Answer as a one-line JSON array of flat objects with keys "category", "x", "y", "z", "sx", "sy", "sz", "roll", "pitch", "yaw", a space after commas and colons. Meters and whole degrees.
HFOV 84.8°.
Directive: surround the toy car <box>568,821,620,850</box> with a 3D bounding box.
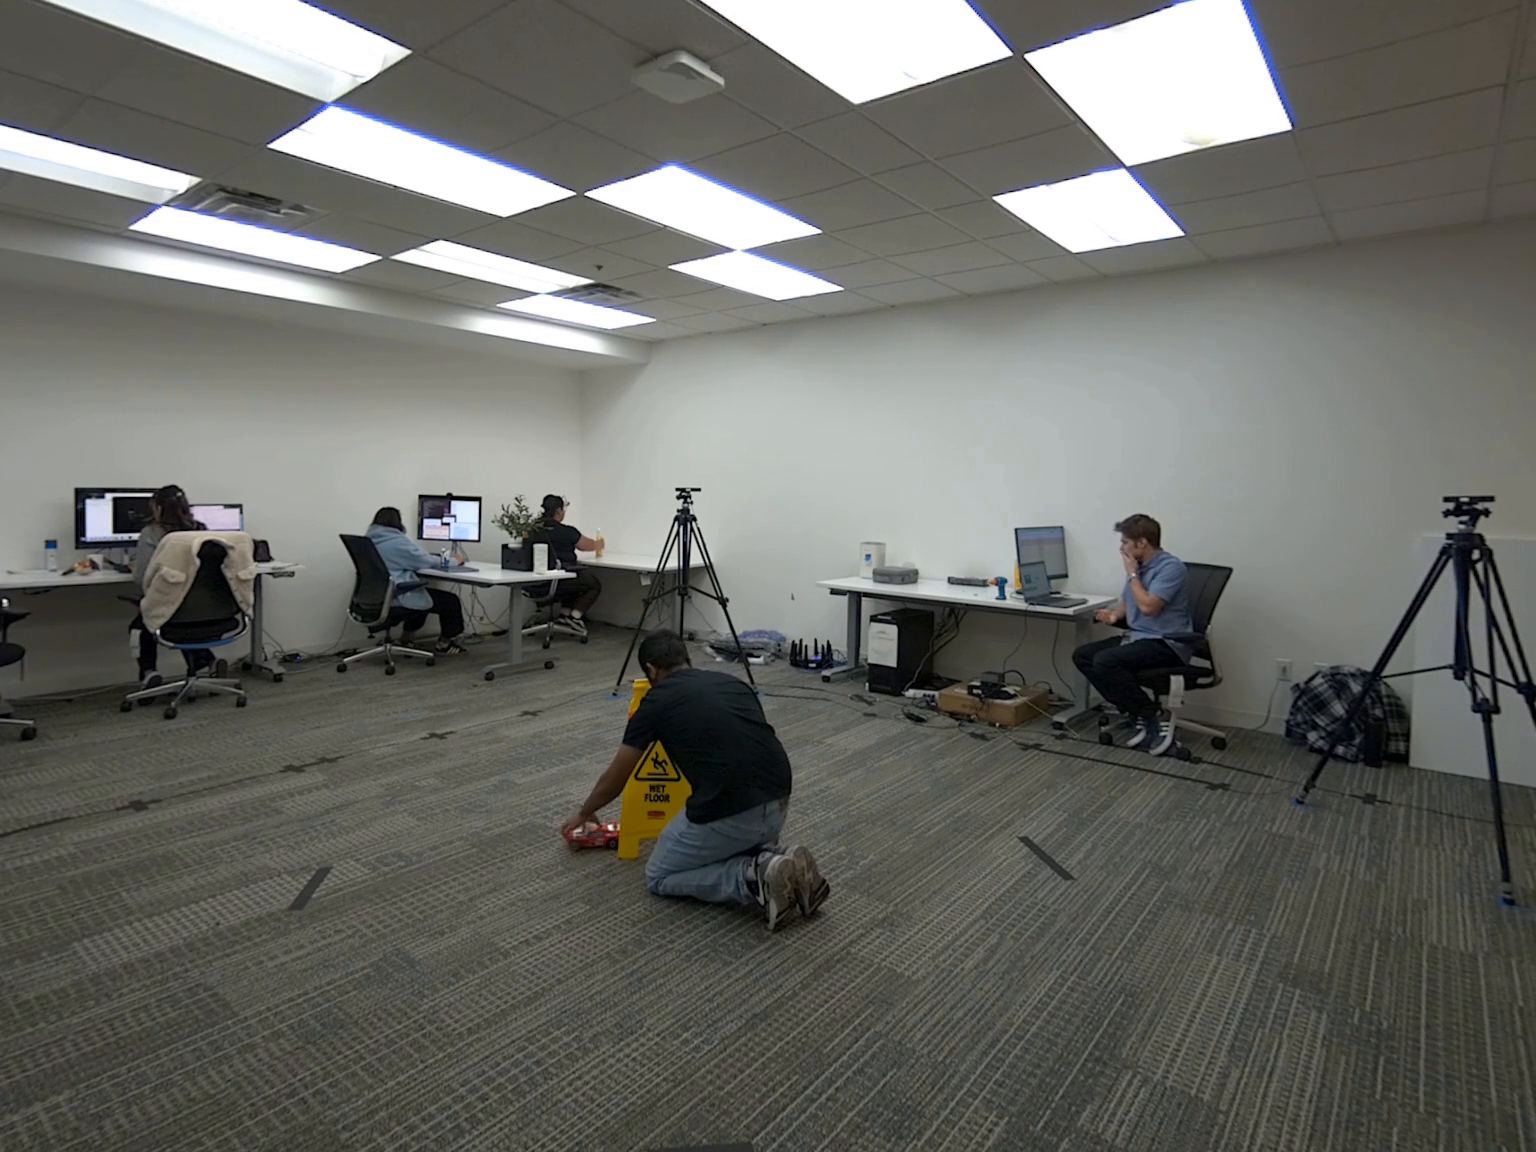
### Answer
[{"category": "toy car", "x": -0.645, "y": 1.008, "z": 3.310, "sx": 0.253, "sy": 0.082, "sz": 0.132, "roll": -11, "pitch": 8, "yaw": -7}]
